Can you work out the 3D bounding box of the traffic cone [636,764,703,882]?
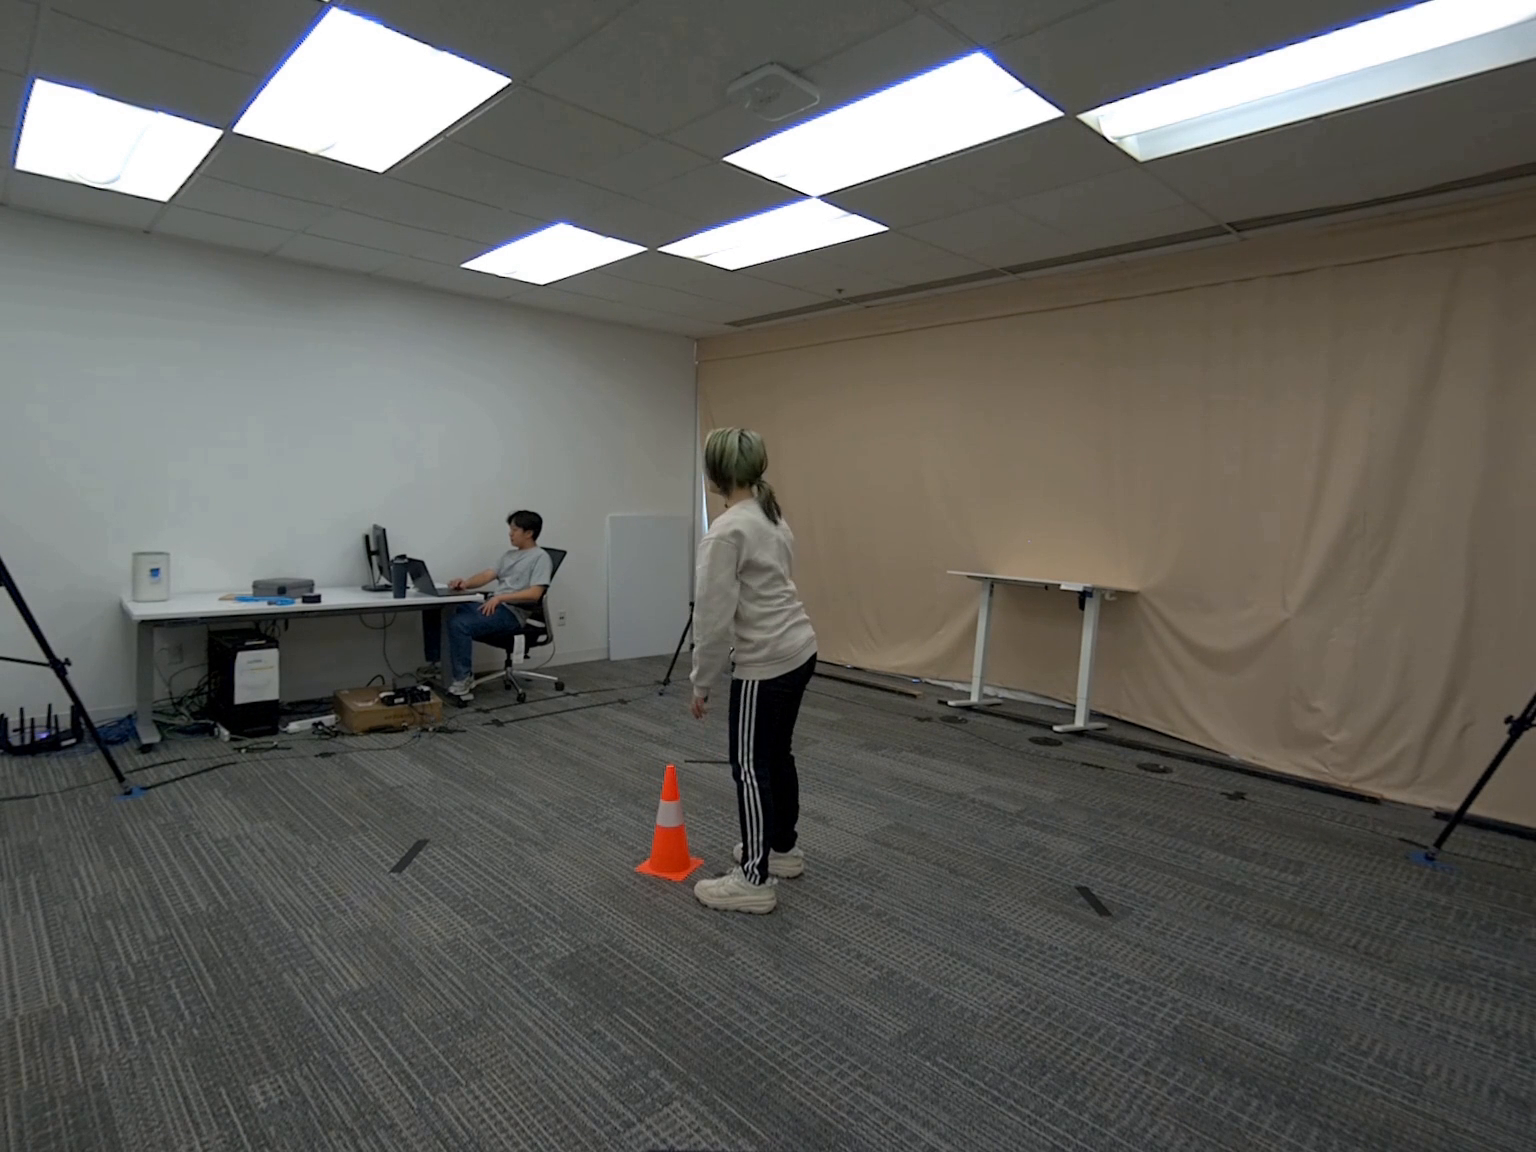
[{"bbox_3d":[-0.368,0.905,3.168,0.207,0.383,0.201,3,3,25],"label":"traffic cone"}]
